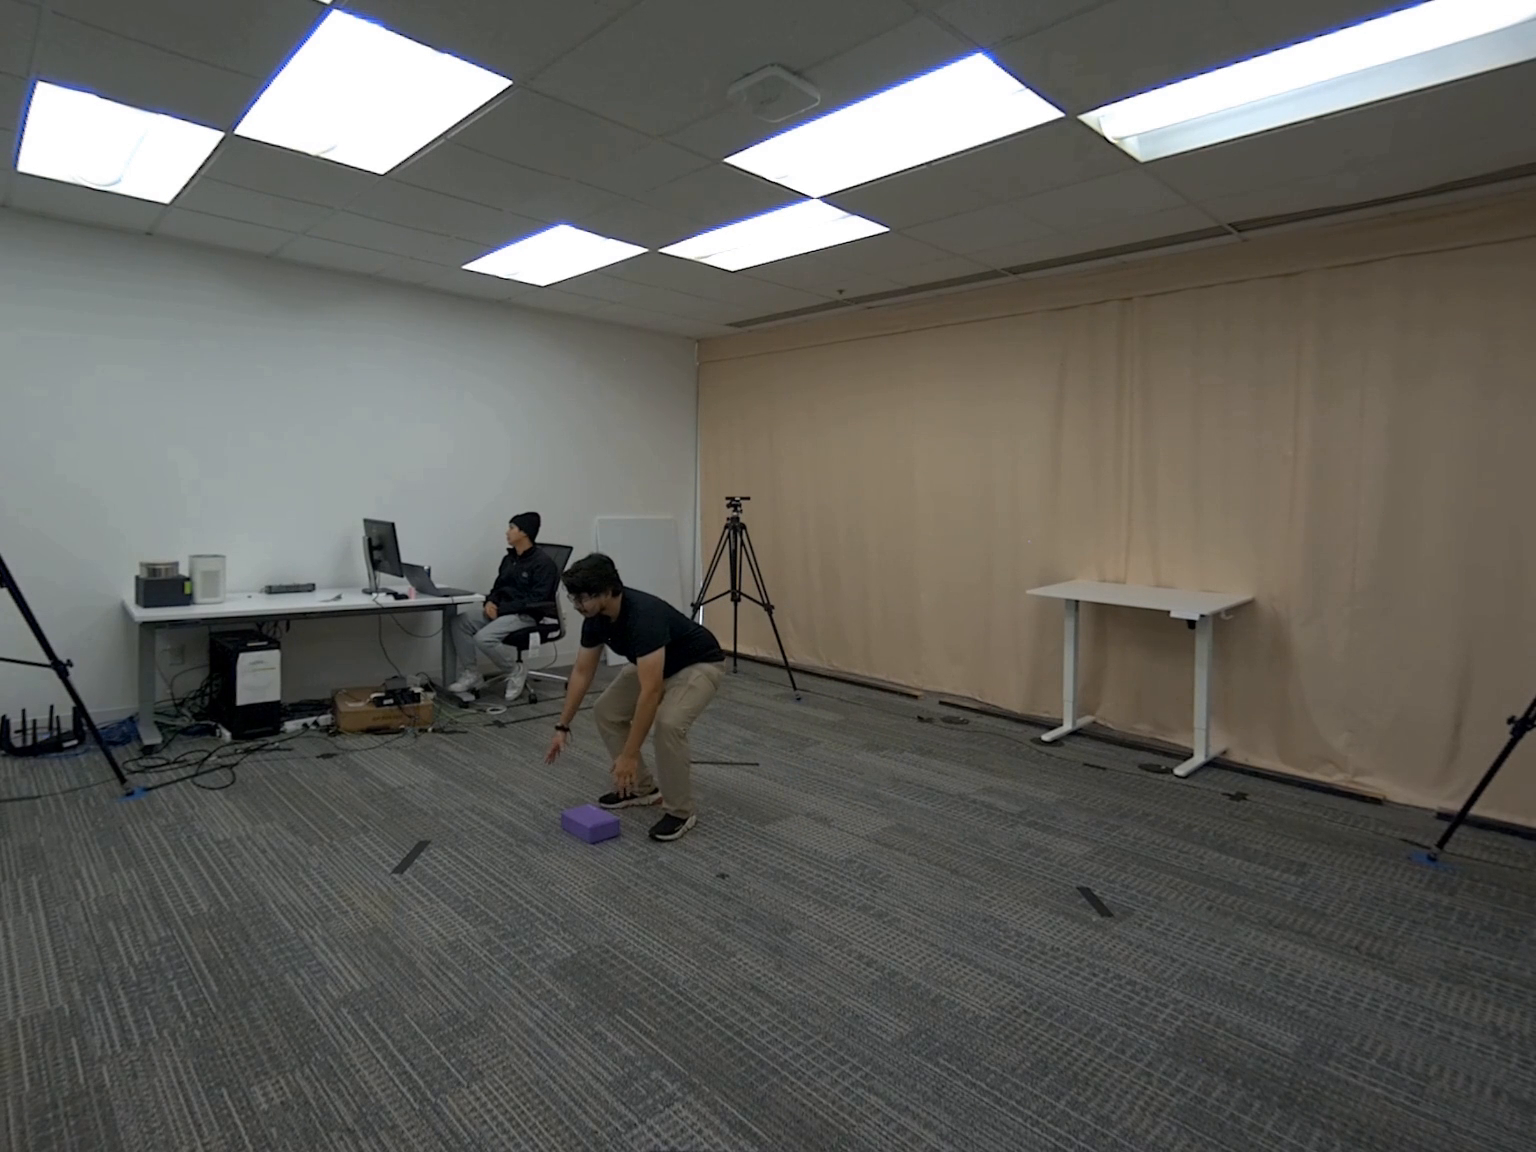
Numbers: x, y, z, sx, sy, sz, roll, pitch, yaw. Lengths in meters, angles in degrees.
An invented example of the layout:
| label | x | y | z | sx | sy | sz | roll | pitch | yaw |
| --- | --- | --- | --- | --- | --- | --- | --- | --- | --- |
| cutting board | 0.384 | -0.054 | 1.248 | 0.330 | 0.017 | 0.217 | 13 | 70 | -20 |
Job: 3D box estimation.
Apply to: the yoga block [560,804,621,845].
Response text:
| label | x | y | z | sx | sy | sz | roll | pitch | yaw |
| --- | --- | --- | --- | --- | --- | --- | --- | --- | --- |
| yoga block | -0.737 | 1.016 | 3.476 | 0.146 | 0.076 | 0.235 | -5 | 8 | -43 |
